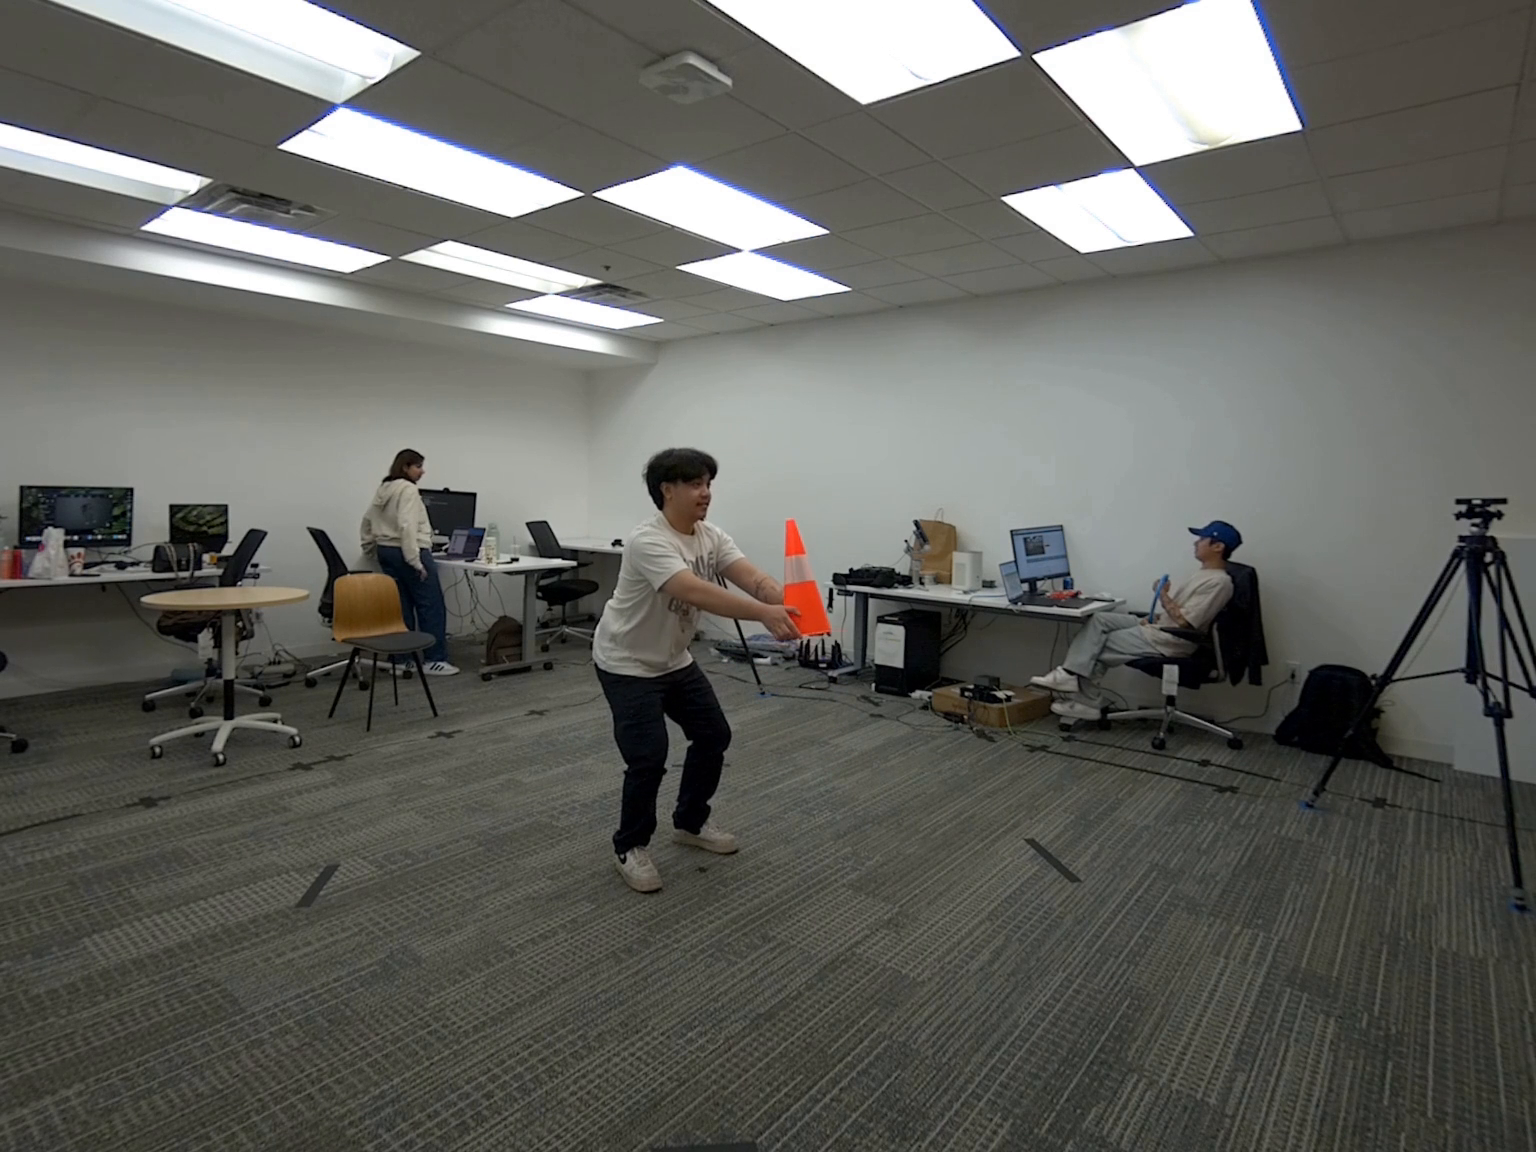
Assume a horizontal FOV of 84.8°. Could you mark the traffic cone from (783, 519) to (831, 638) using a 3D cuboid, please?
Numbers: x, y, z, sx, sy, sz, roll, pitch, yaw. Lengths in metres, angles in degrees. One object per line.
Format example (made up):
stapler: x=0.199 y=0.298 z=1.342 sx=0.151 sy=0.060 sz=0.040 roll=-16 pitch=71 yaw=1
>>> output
traffic cone: x=0.098 y=0.005 z=2.789 sx=0.207 sy=0.386 sz=0.200 roll=-9 pitch=-4 yaw=18
